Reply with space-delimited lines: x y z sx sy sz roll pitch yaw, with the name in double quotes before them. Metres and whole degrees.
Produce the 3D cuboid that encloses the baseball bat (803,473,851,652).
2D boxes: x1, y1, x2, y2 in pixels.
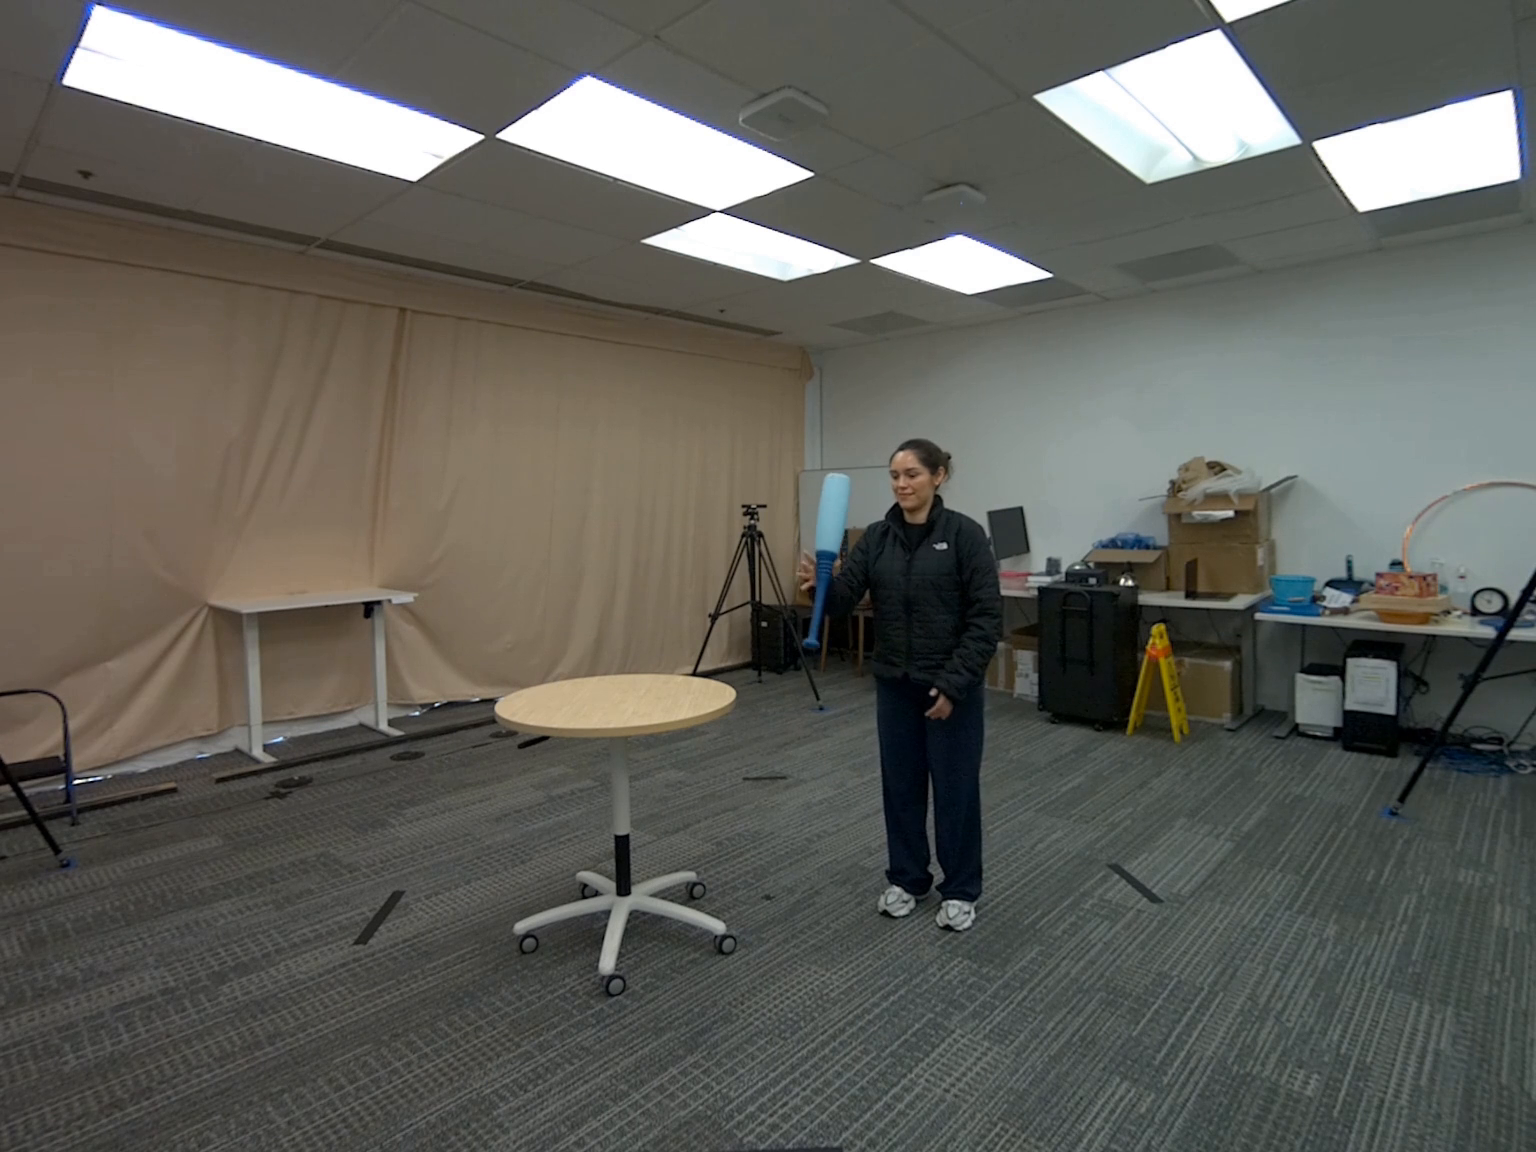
"baseball bat" 0.191 -0.011 2.525 0.089 0.546 0.088 9 -14 0
